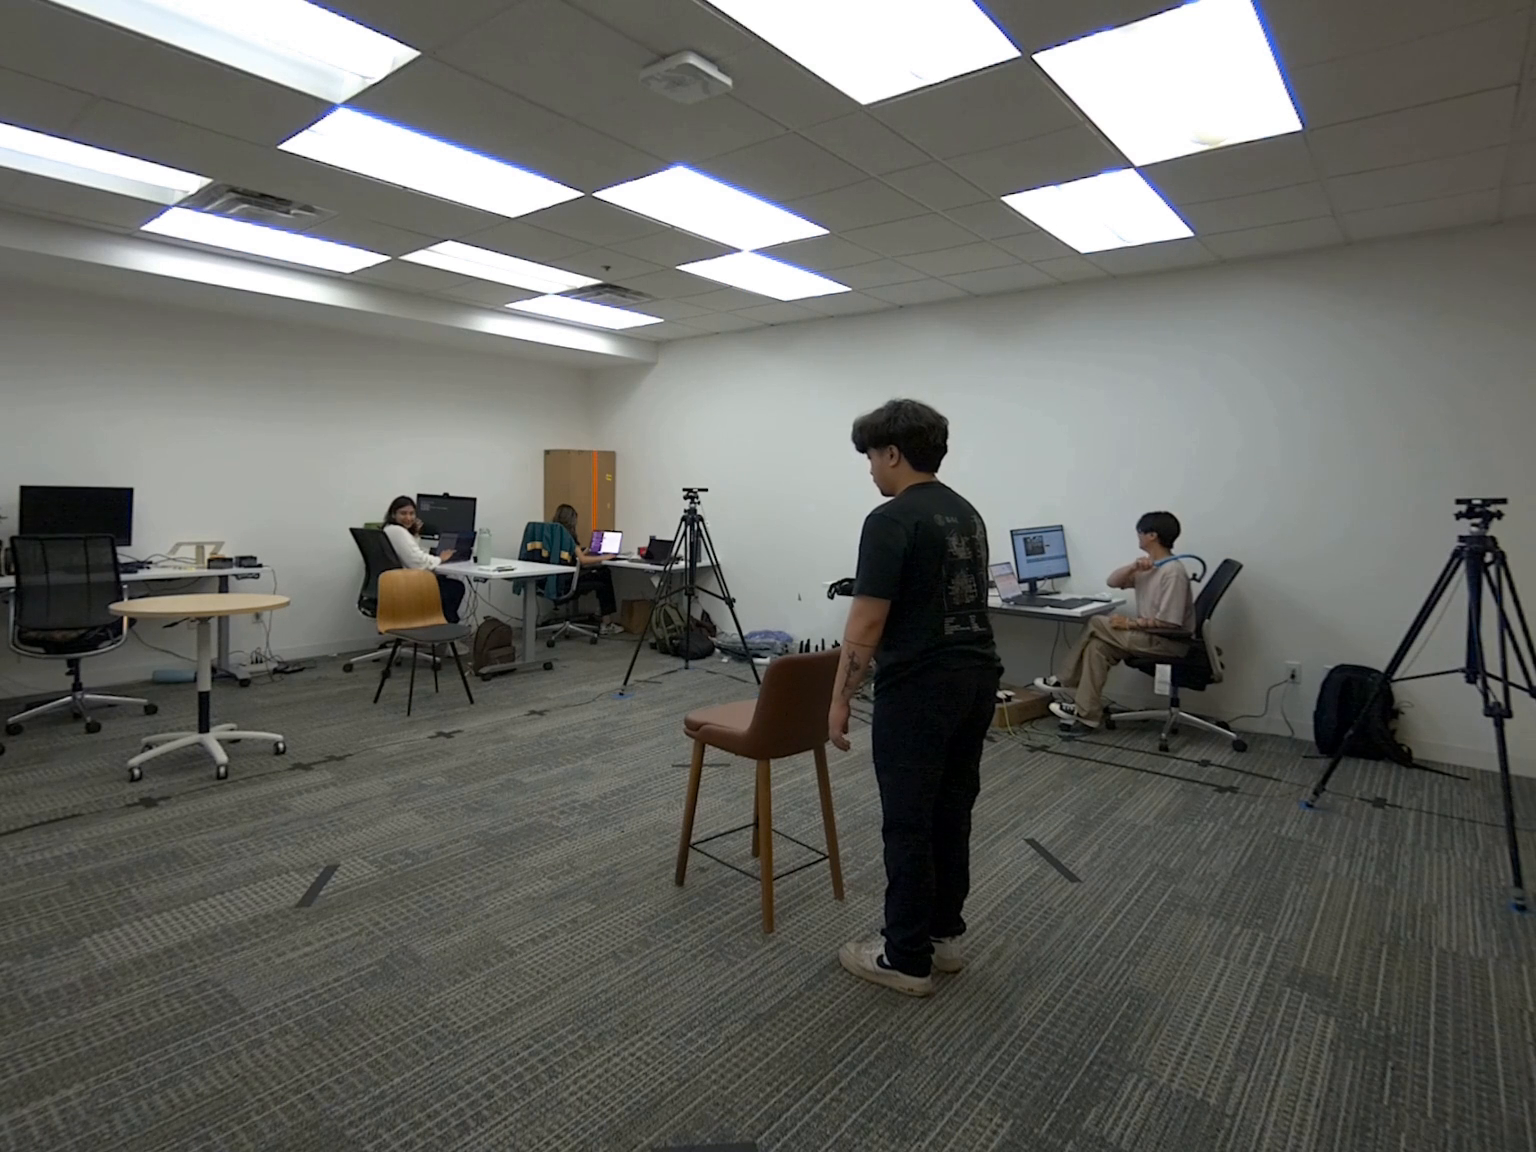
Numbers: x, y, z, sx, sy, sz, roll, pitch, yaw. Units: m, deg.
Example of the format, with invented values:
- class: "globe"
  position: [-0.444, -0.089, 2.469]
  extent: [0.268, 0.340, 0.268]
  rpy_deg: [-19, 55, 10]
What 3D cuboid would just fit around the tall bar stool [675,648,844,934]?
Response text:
- class: "tall bar stool"
  position: [-0.020, 0.655, 2.924]
  extent: [0.442, 0.886, 0.484]
  rpy_deg: [-2, 6, -44]
